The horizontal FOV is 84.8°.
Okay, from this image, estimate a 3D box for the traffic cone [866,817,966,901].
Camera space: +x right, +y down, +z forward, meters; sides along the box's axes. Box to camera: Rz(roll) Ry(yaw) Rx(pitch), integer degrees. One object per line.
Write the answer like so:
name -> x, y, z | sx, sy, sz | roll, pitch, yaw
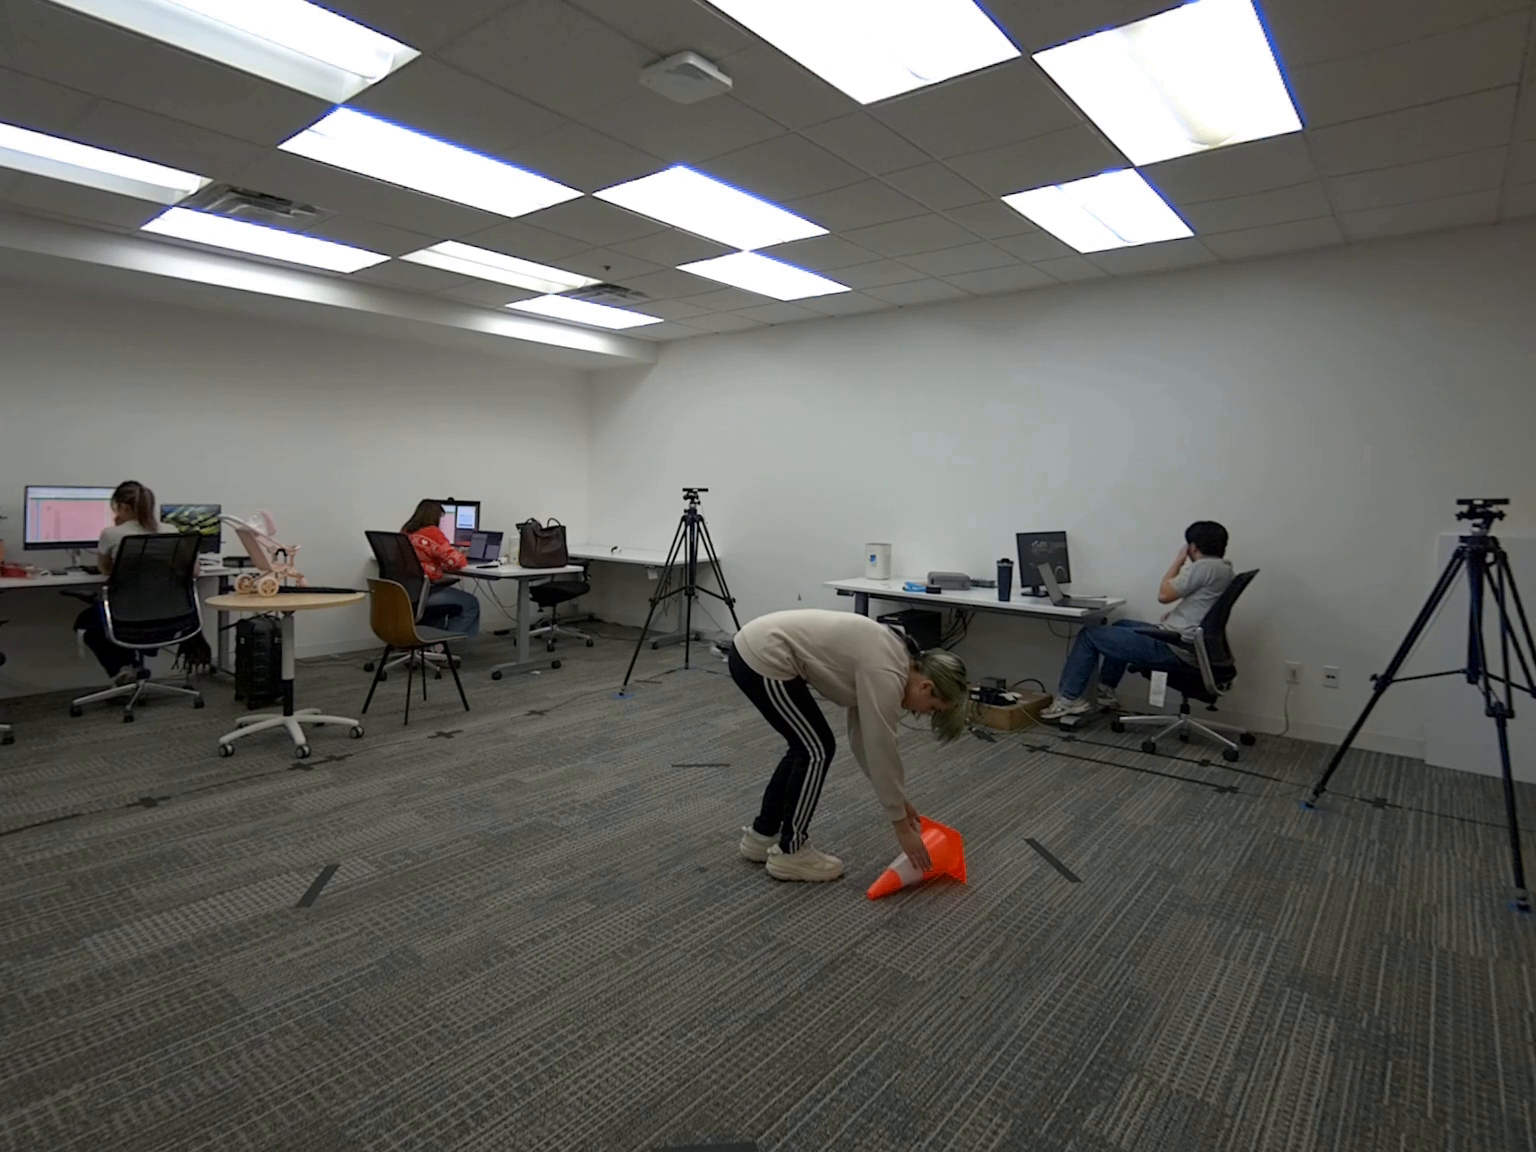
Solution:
traffic cone -> 0.486, 1.039, 3.013 | 0.376, 0.203, 0.210 | -17, 13, -35
